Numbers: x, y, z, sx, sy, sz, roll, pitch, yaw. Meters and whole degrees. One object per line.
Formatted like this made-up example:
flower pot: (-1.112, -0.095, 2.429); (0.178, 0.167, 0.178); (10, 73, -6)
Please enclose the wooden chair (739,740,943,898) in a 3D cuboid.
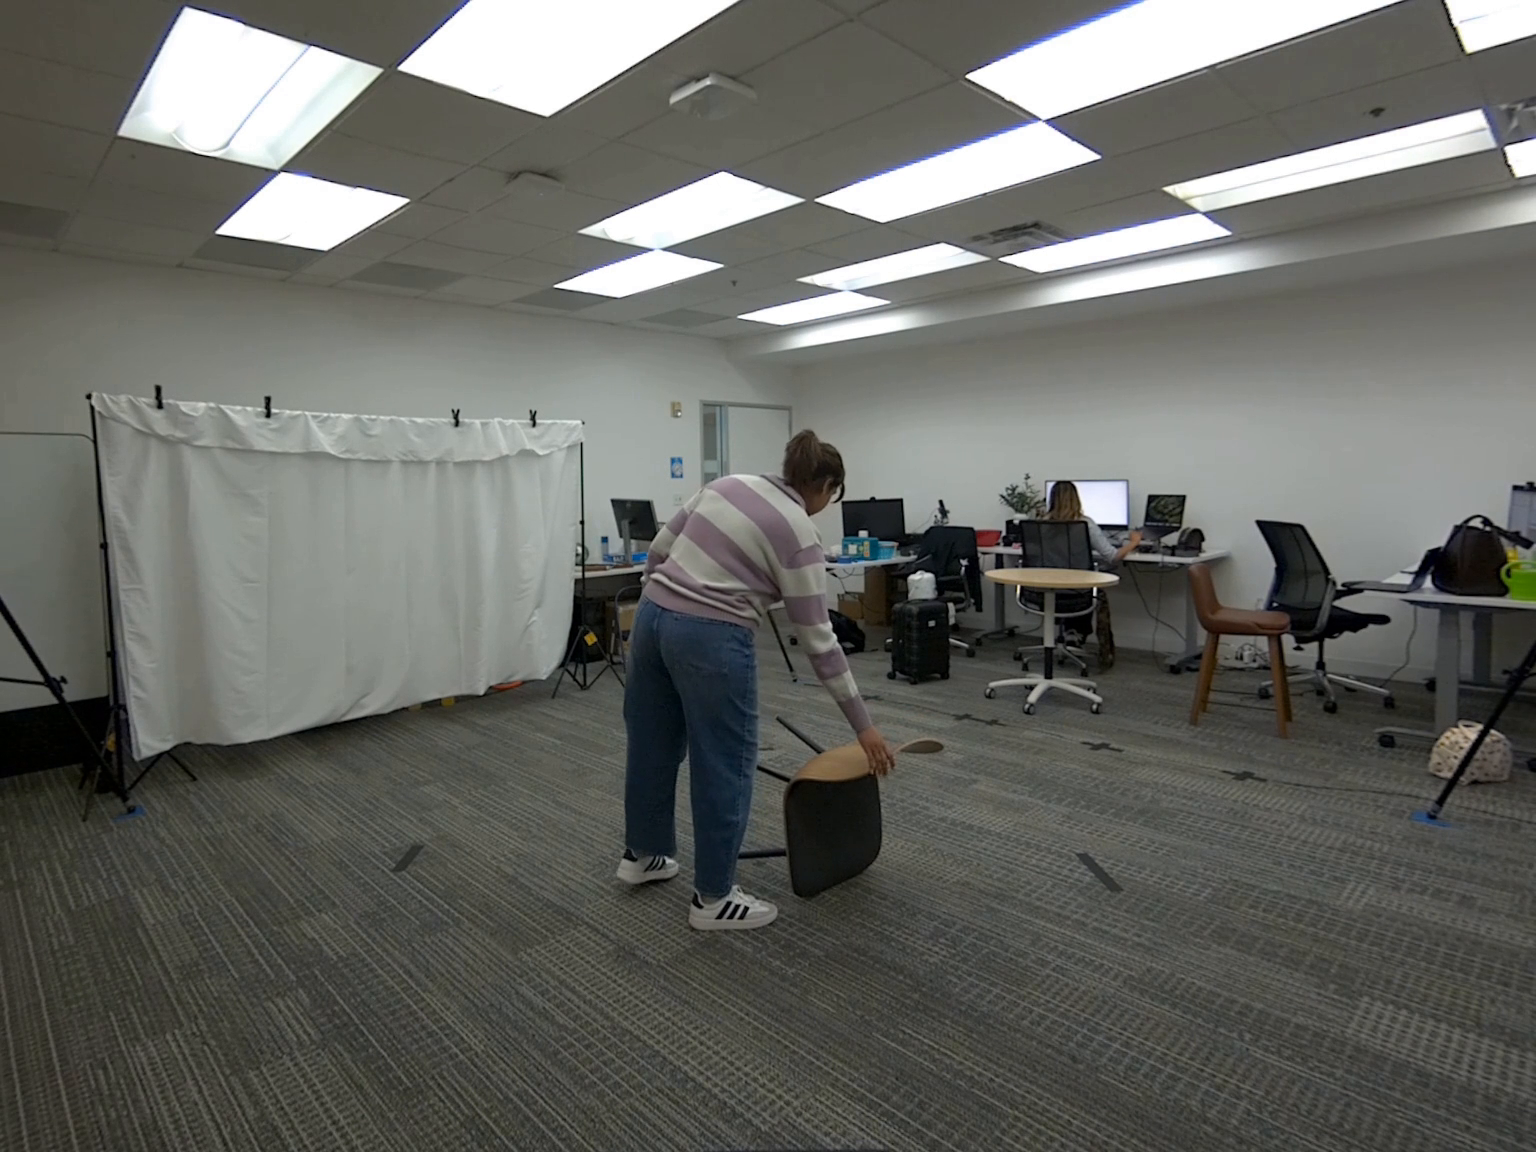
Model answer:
wooden chair: (0.201, 0.808, 2.953); (0.465, 0.524, 0.899); (-4, -2, -43)
